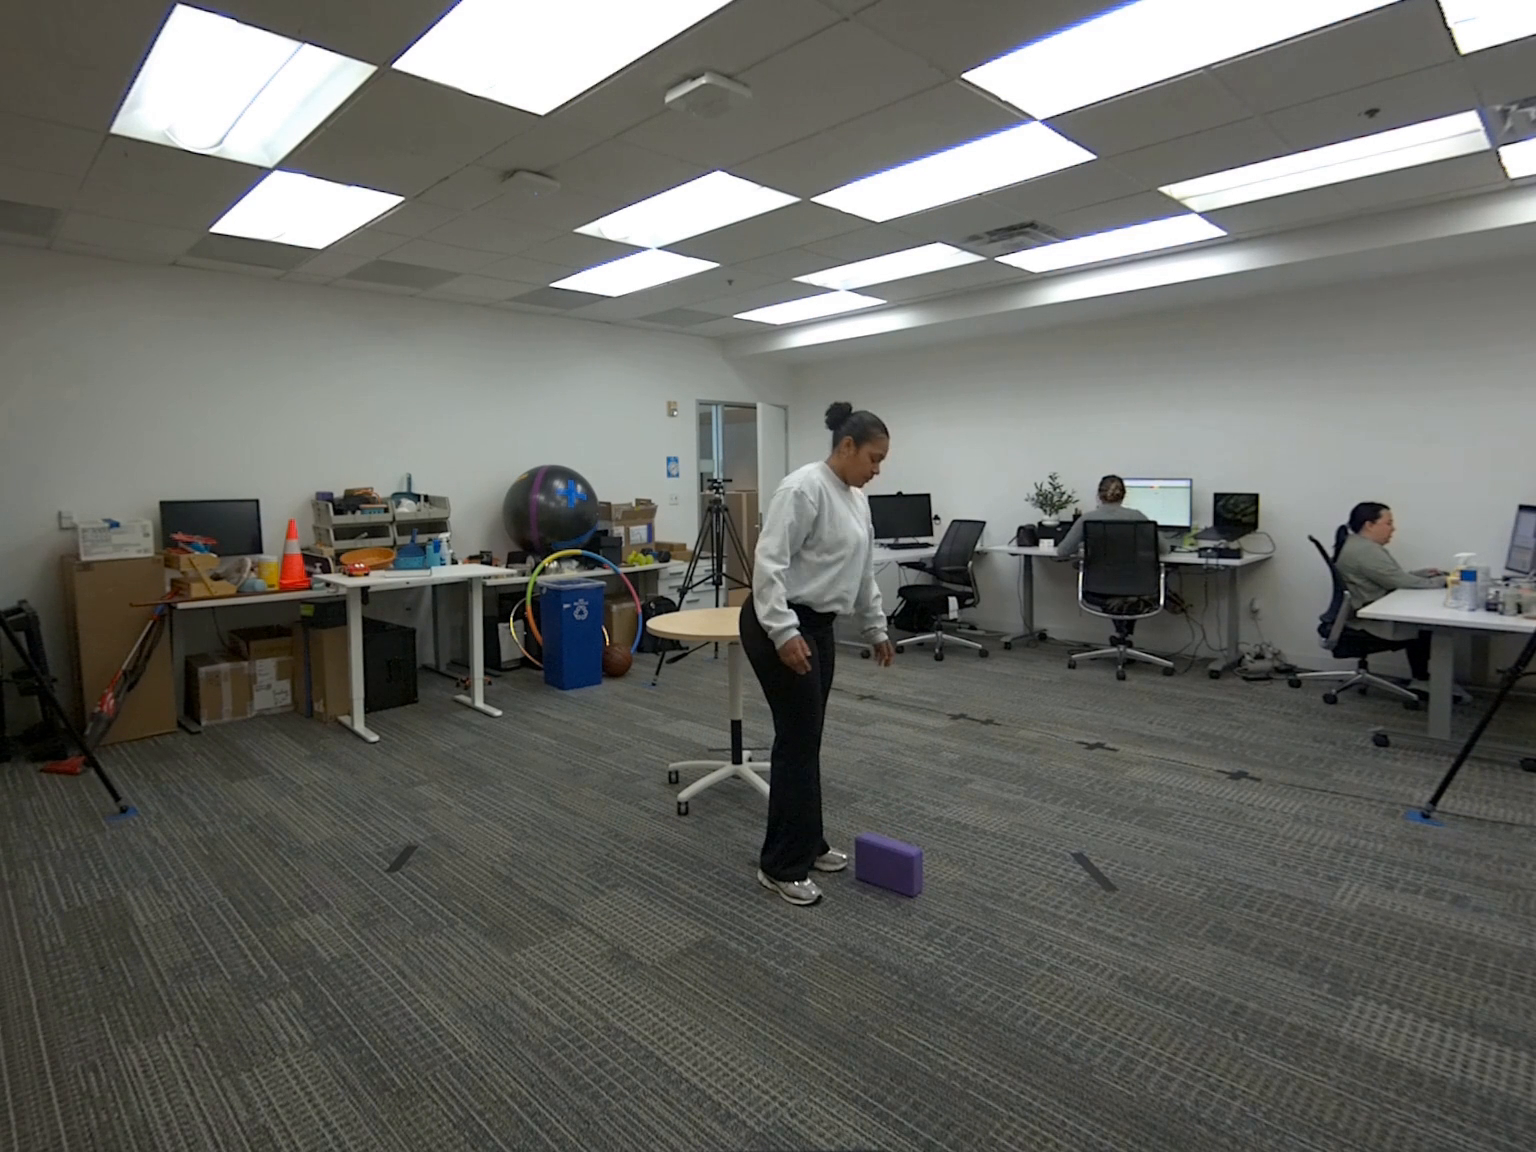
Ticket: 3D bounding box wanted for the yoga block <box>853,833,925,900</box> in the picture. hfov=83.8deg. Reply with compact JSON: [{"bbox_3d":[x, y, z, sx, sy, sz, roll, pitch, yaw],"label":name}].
[{"bbox_3d":[0.410,0.978,2.916,0.236,0.148,0.074,5,8,39],"label":"yoga block"}]
